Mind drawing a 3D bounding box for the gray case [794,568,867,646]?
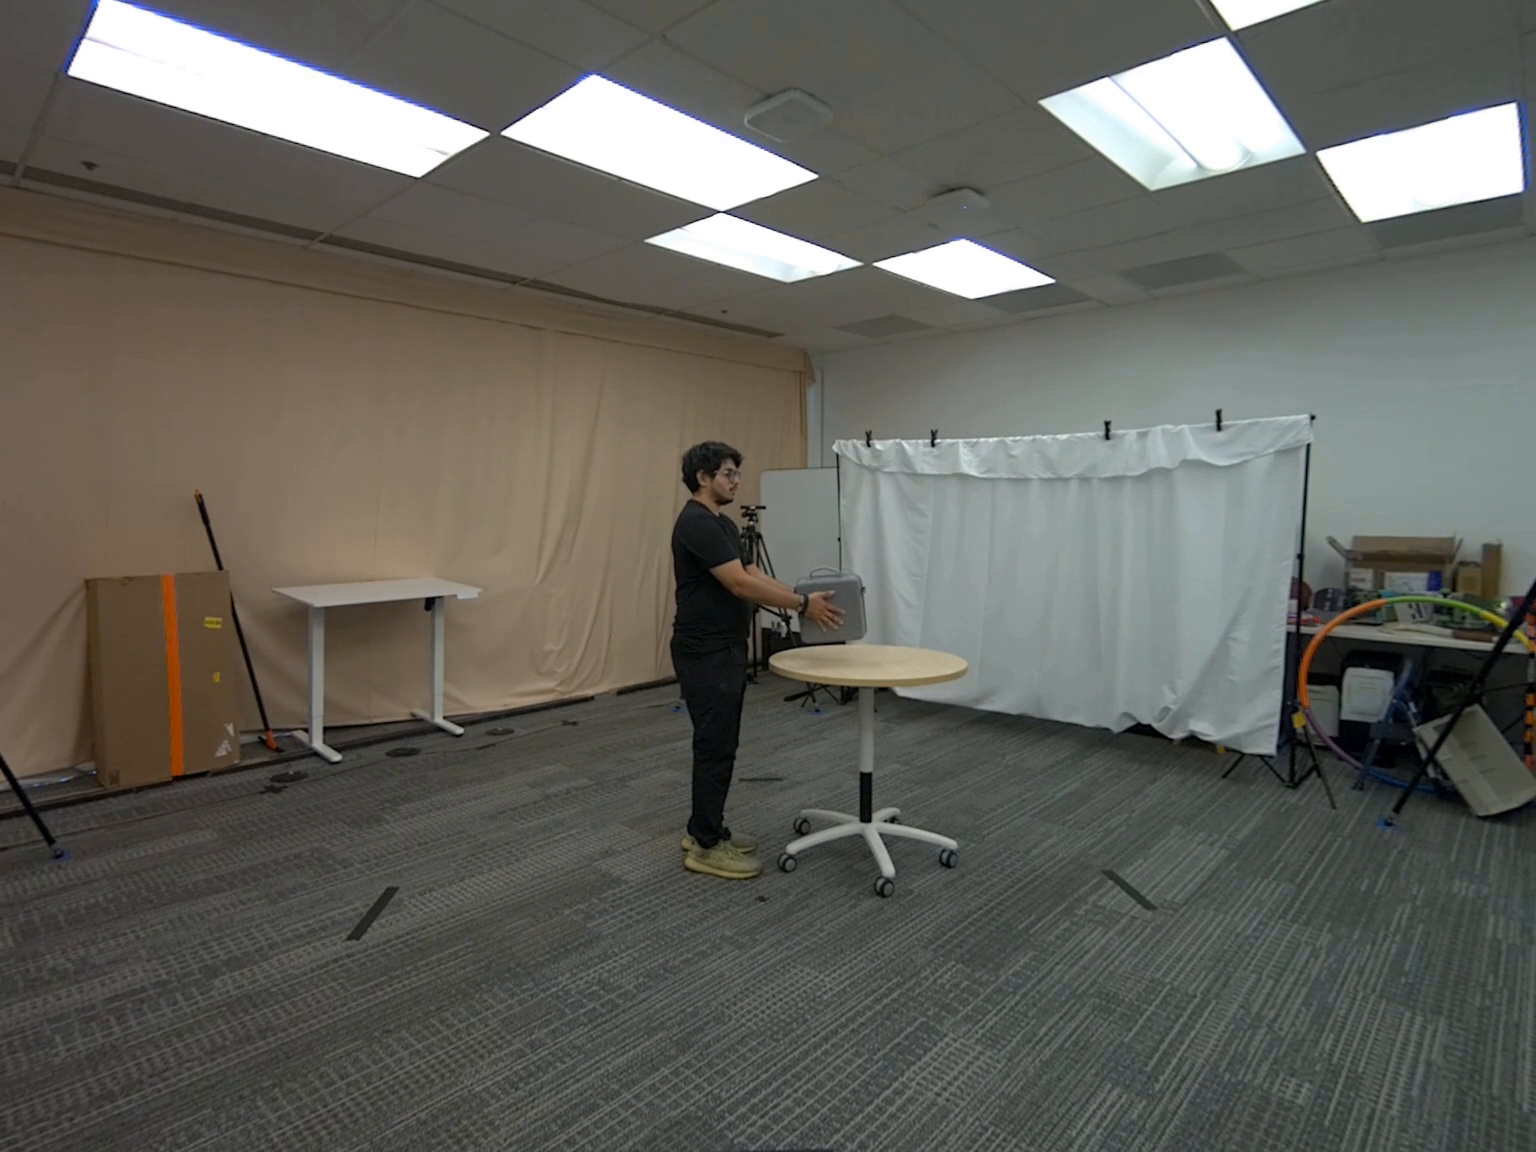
[{"bbox_3d":[0.248,0.125,3.245,0.260,0.258,0.104,-6,11,12],"label":"gray case"}]
